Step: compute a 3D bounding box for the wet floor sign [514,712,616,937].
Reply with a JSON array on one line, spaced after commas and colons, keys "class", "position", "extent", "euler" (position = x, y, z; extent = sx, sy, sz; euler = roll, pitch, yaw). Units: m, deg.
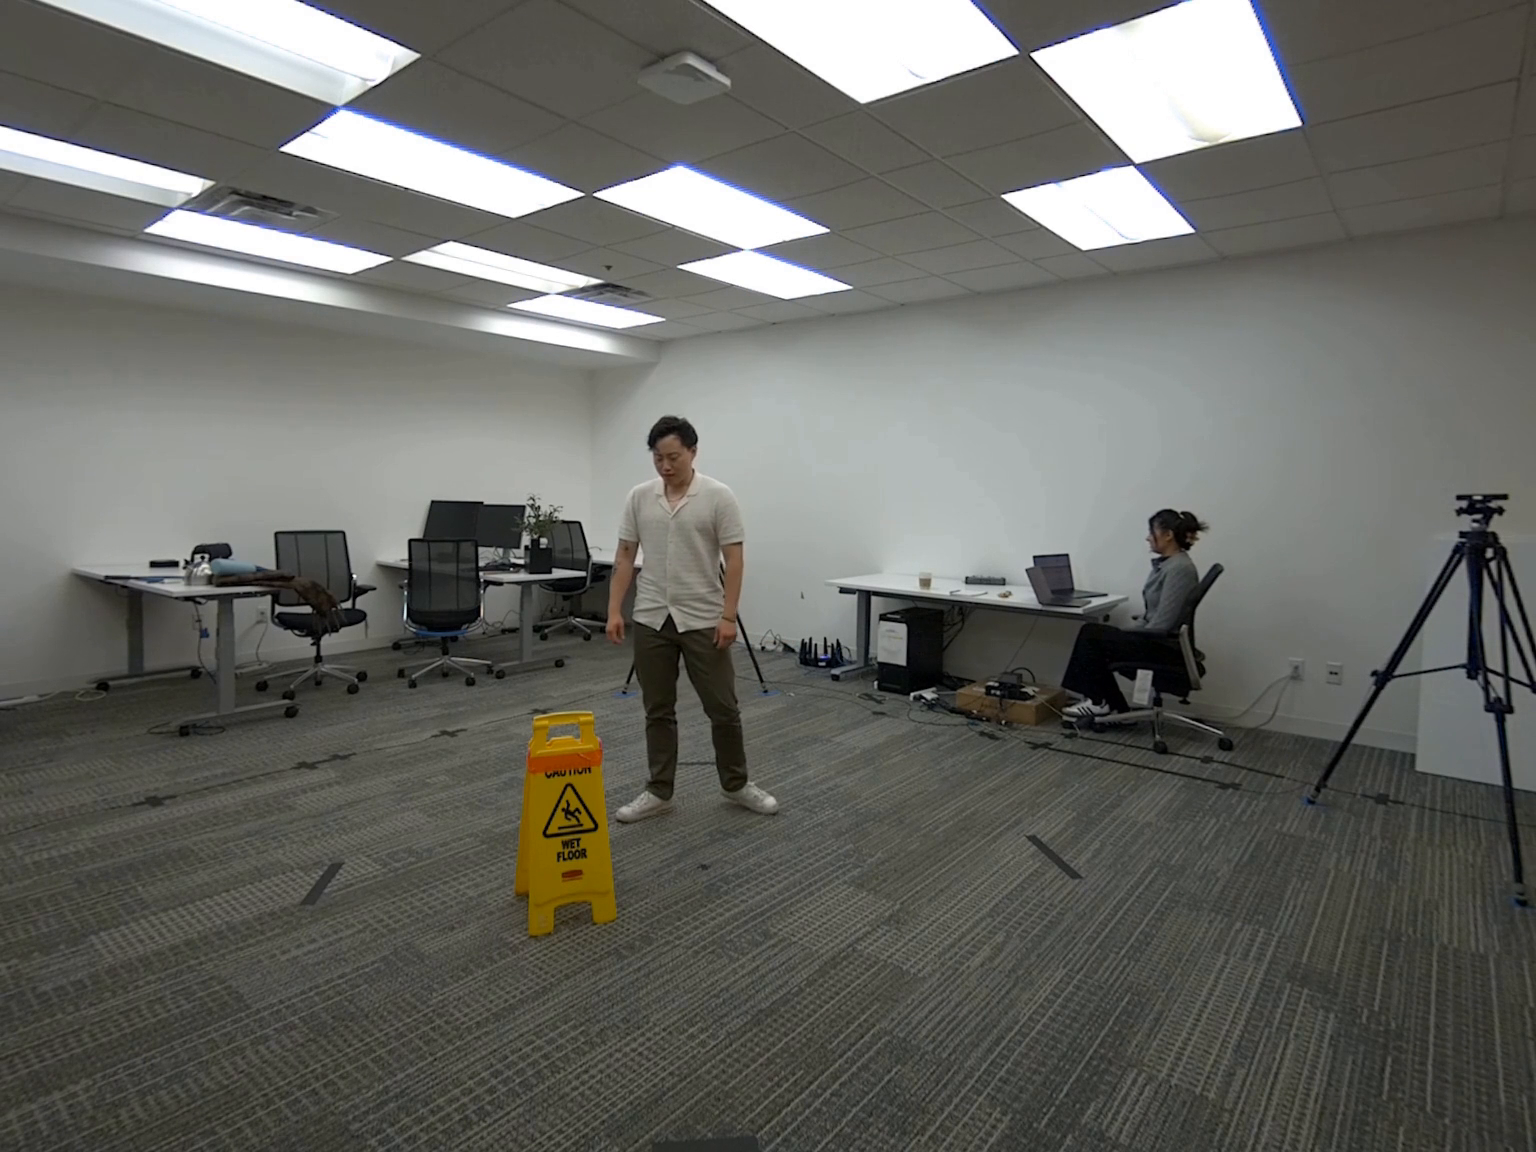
[{"class": "wet floor sign", "position": [-0.681, 0.768, 2.783], "extent": [0.276, 0.644, 0.297], "euler": [-1, 4, -22]}]
